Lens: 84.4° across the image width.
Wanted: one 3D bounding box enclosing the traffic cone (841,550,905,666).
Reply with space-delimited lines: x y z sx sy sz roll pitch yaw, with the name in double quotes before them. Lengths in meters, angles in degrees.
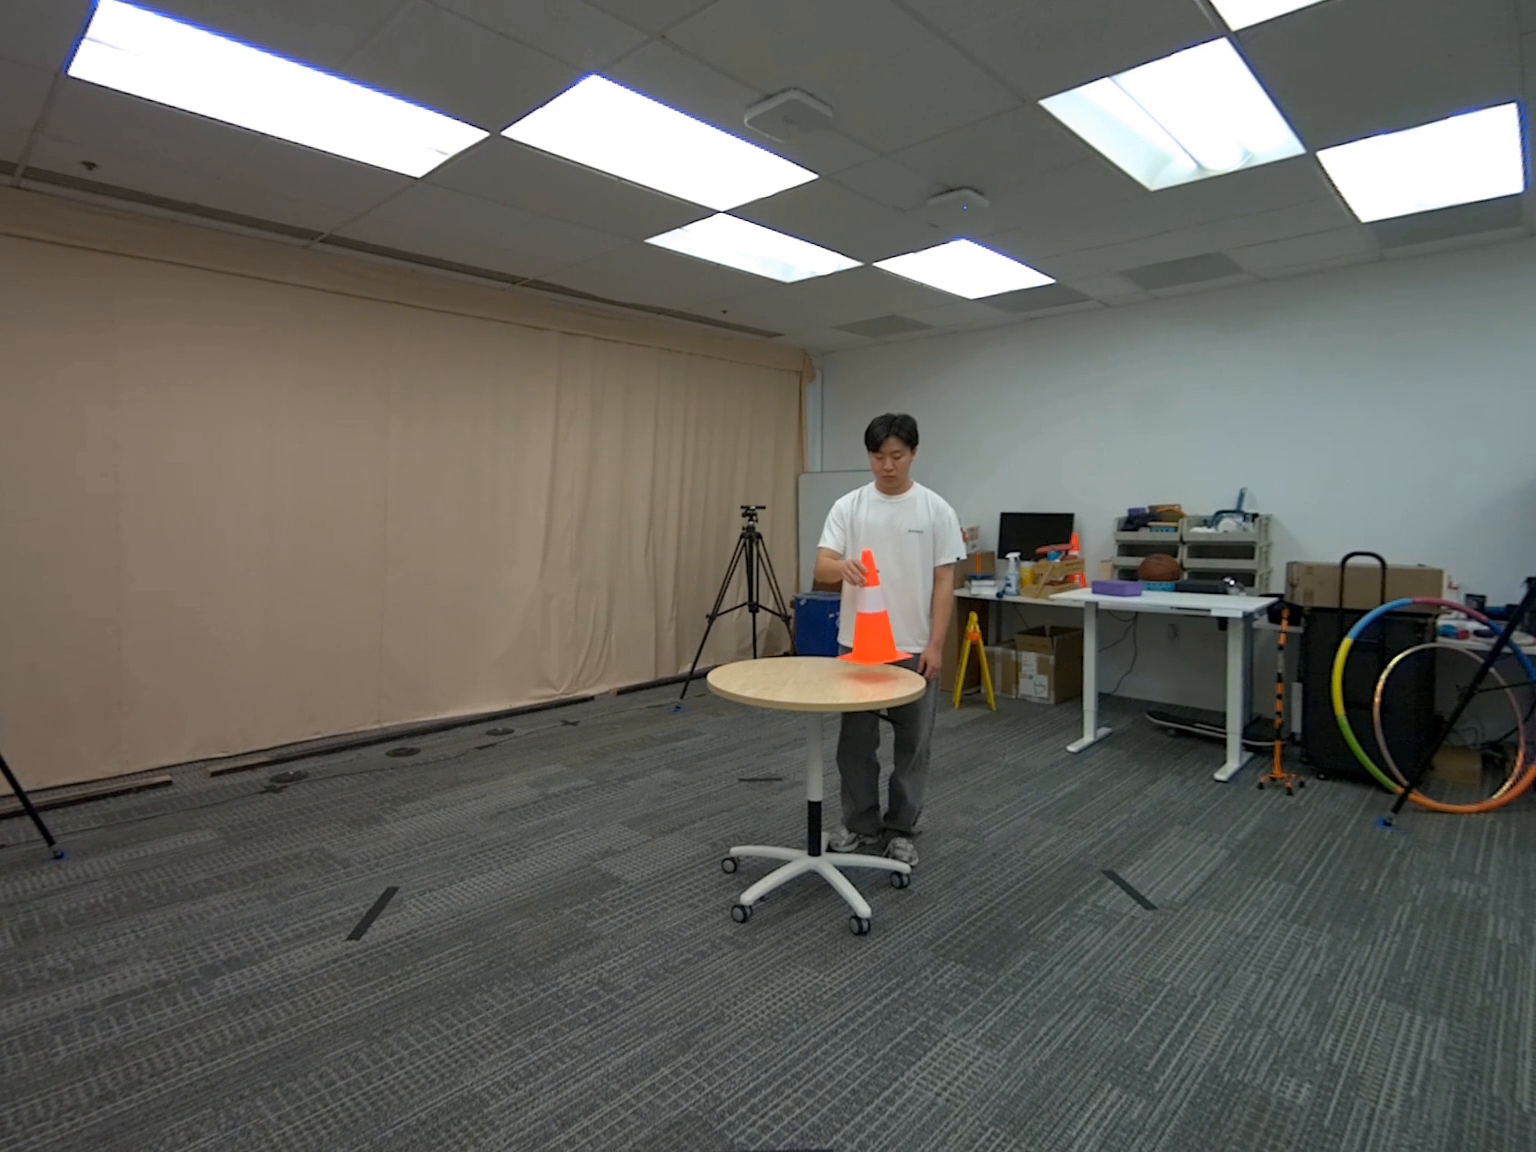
"traffic cone" 0.359 0.109 2.945 0.211 0.382 0.198 0 7 31
